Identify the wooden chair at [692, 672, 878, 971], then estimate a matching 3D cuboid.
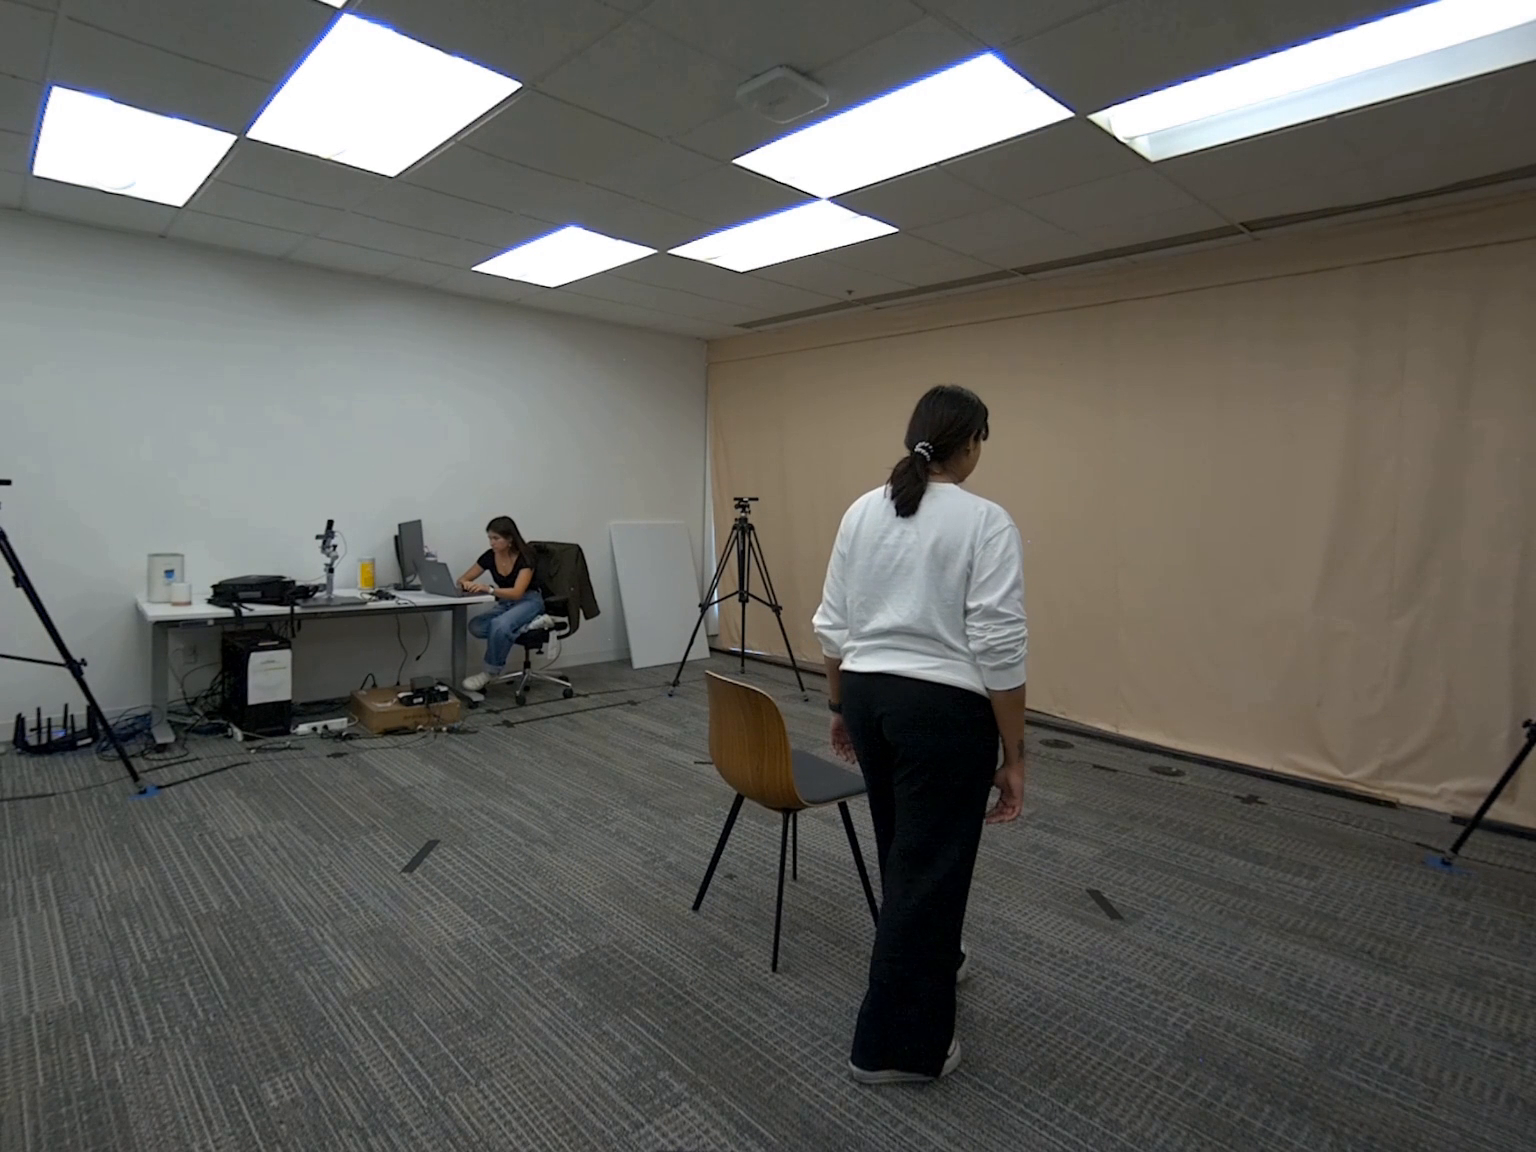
[{"bbox_3d":[0.069,0.715,2.763,0.513,0.873,0.490,-7,7,-36],"label":"wooden chair"}]
